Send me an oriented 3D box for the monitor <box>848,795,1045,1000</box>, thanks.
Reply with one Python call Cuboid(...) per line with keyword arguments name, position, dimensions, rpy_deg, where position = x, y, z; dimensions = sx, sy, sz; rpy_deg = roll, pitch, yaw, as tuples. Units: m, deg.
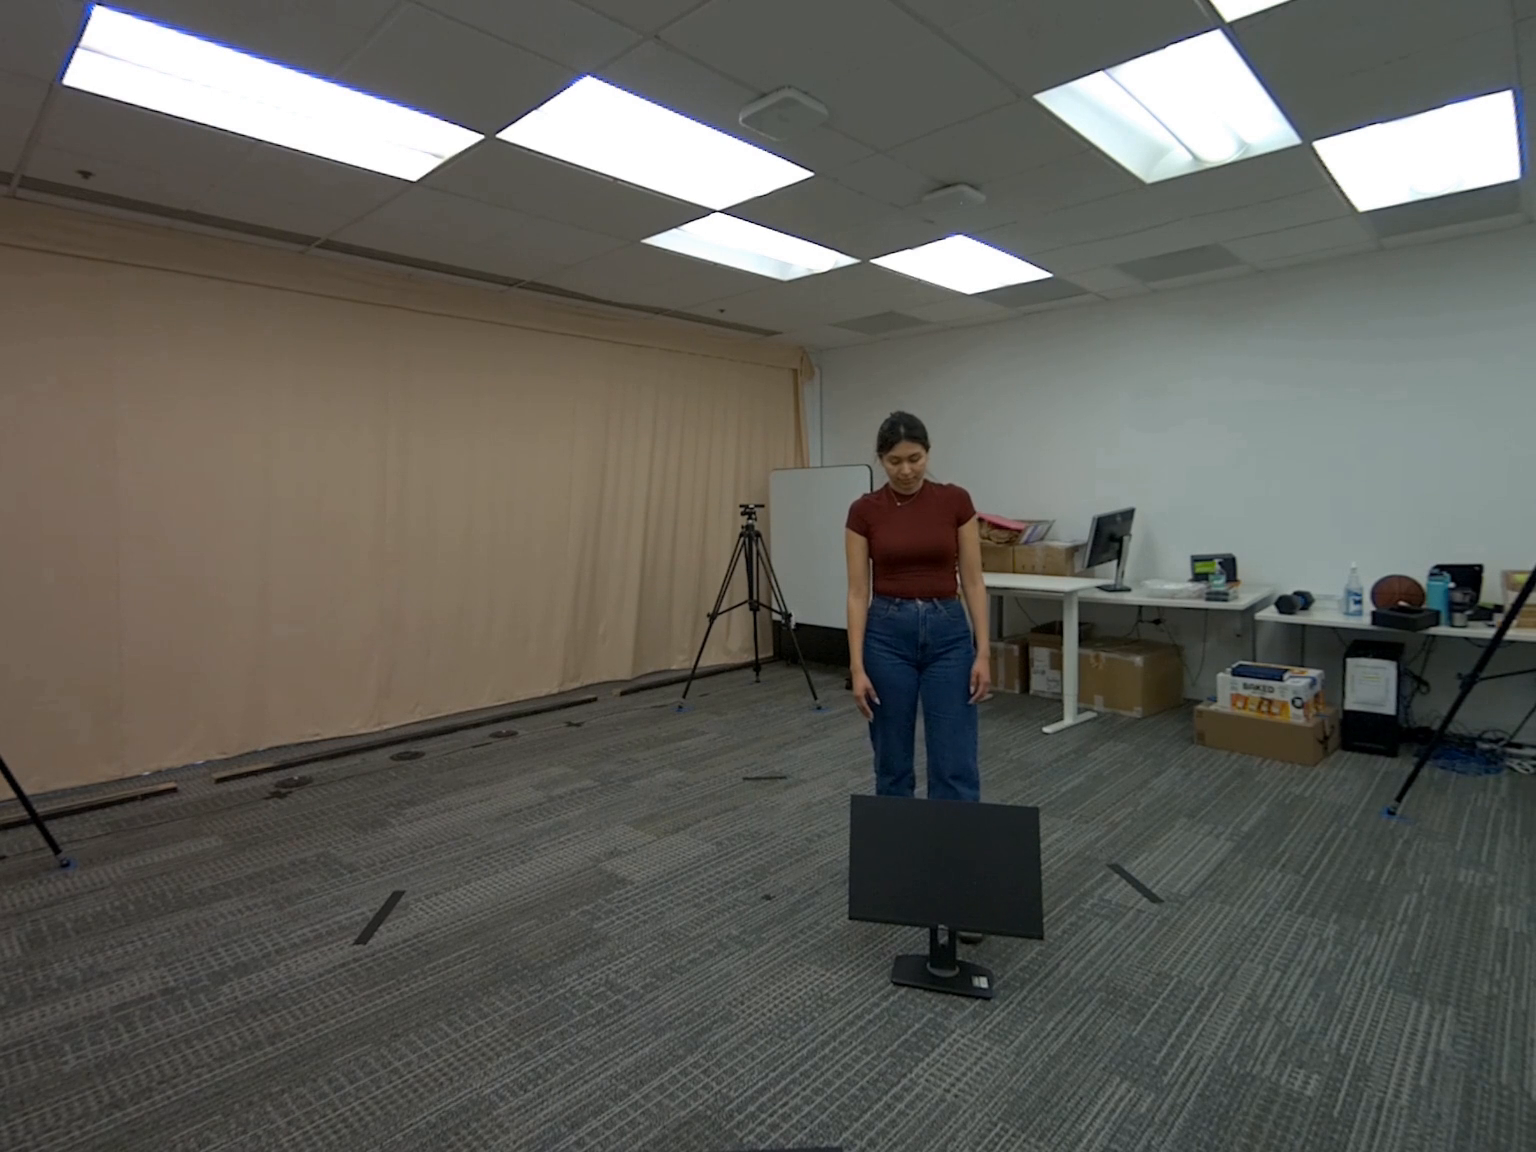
Cuboid(name="monitor", position=(0.506, 0.920, 2.465), dimensions=(0.547, 0.522, 0.184), rpy_deg=(0, 0, 13))
